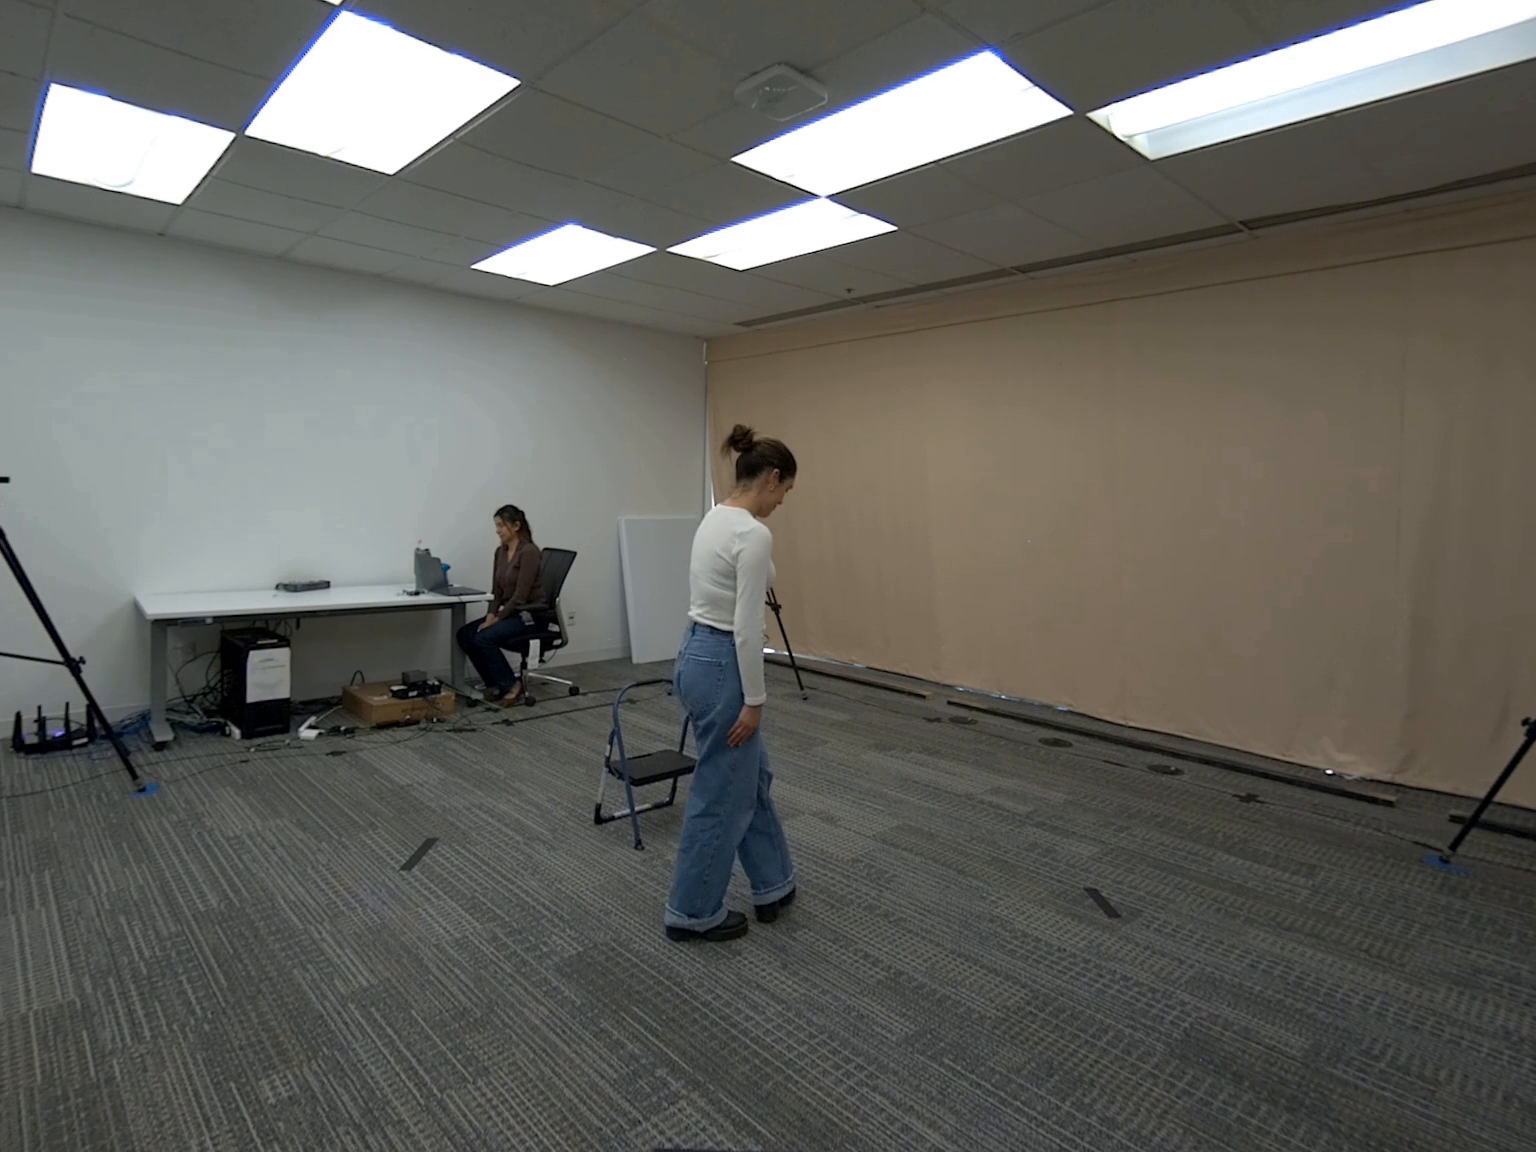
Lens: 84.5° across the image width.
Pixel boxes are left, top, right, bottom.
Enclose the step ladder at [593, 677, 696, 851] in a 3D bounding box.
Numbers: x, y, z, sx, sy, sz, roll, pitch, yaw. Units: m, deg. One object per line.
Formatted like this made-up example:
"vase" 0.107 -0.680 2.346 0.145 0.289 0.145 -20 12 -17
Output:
"step ladder" -0.471 0.754 3.551 0.421 0.605 0.358 -2 5 -44
